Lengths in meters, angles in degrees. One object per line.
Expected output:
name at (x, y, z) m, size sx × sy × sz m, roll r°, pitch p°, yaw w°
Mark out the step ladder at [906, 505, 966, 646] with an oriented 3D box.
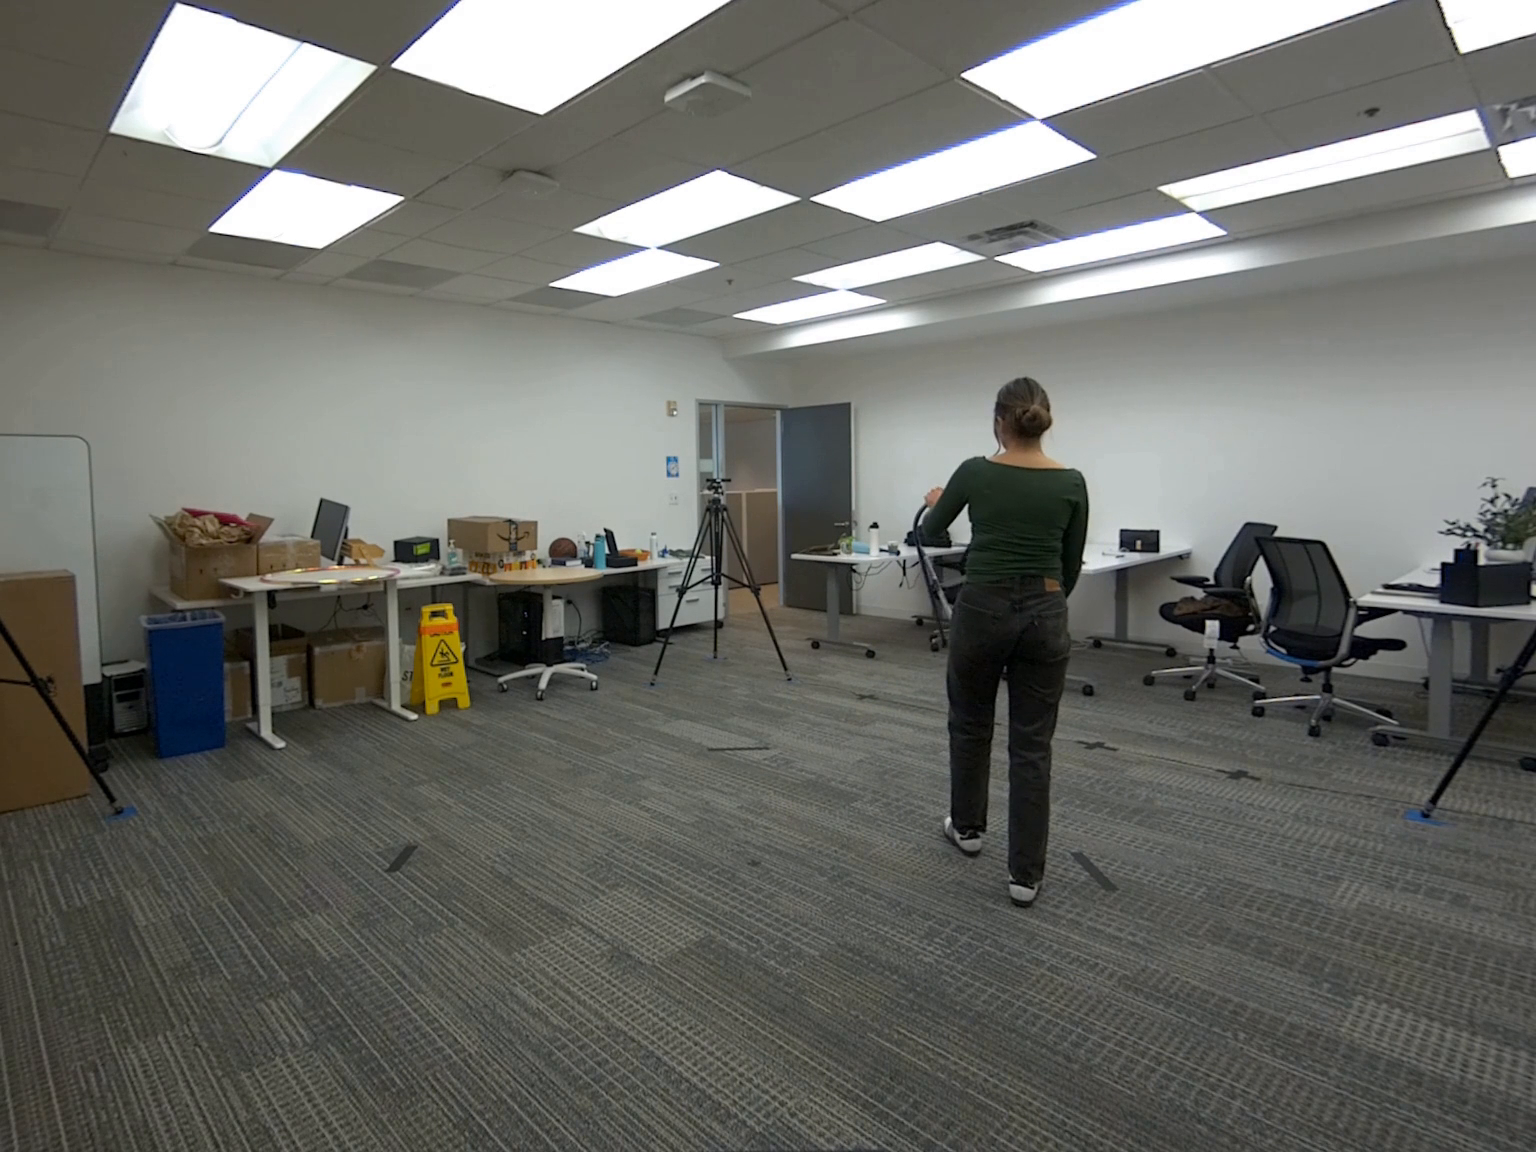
step ladder at (0.822, -0.048, 3.423) m, size 0.430 × 0.608 × 0.349 m, roll -21°, pitch -2°, yaw -3°
